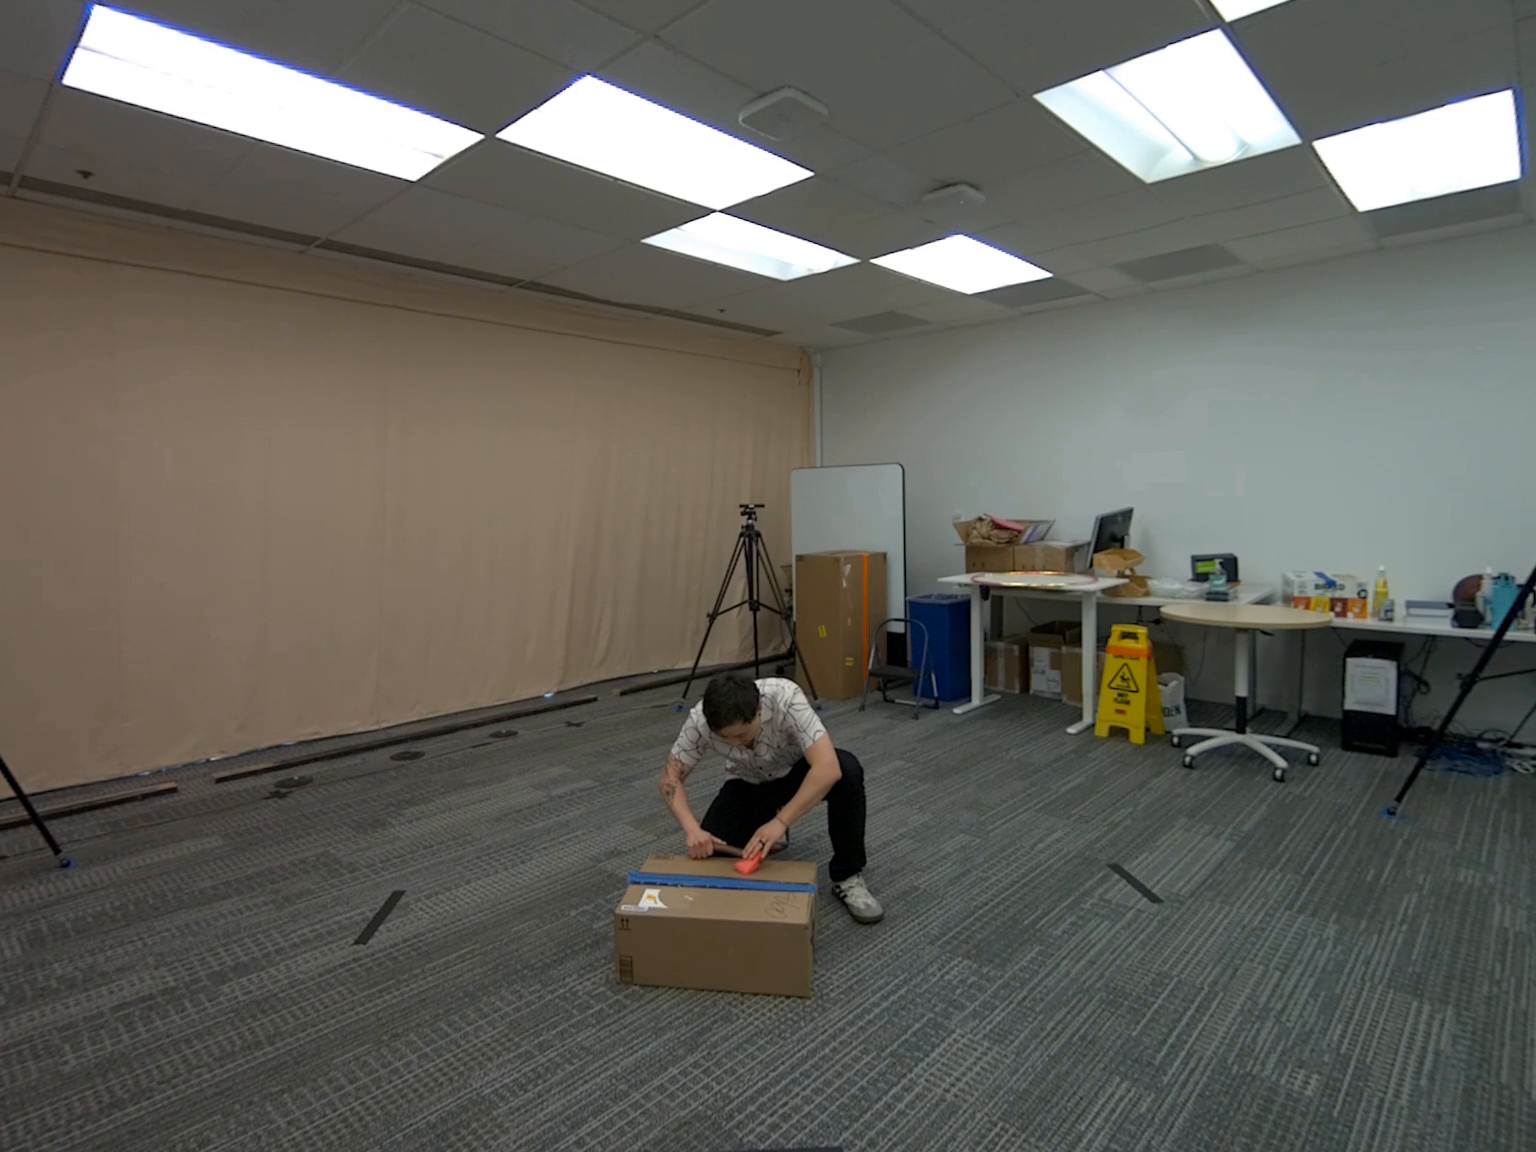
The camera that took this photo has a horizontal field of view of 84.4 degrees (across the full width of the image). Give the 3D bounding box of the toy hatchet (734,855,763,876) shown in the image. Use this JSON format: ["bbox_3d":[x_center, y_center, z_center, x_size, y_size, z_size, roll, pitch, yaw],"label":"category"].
[{"bbox_3d":[-0.130,0.914,2.743,0.274,0.029,0.131,-6,27,16],"label":"toy hatchet"}]
